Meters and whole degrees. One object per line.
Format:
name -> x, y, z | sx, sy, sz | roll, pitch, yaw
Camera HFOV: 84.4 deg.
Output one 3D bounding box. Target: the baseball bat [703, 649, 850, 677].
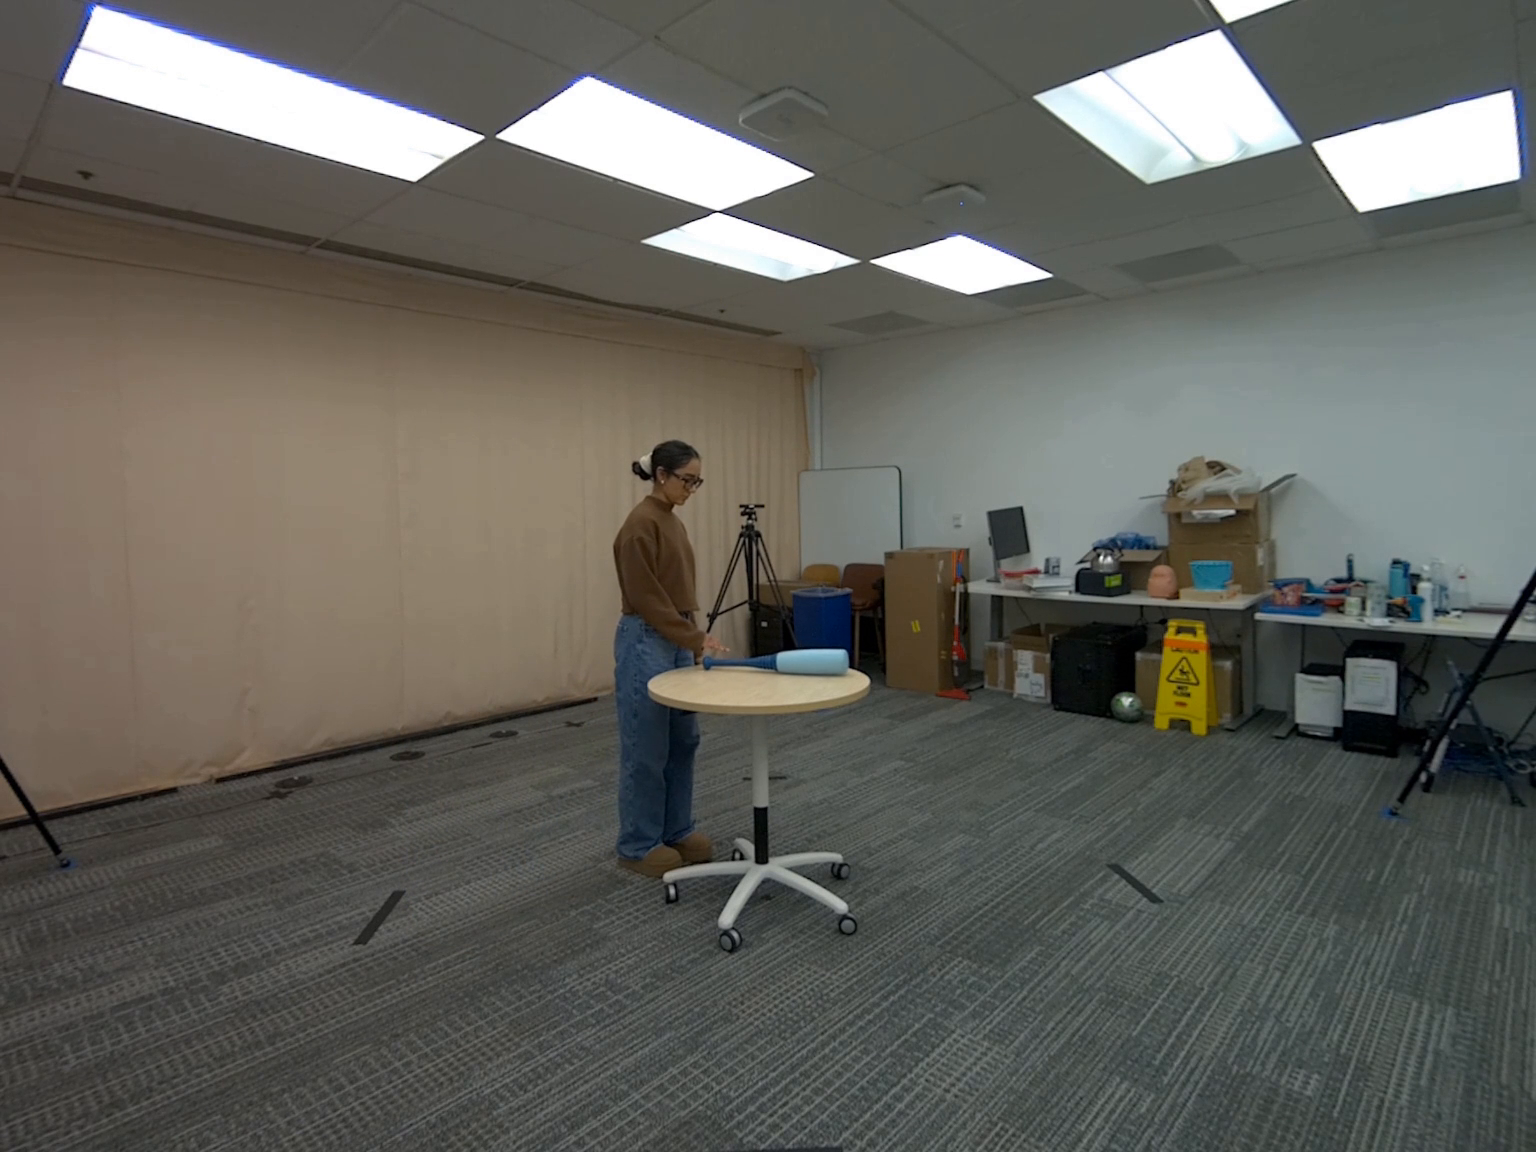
baseball bat -> 0.022, 0.319, 3.044 | 0.554, 0.089, 0.087 | -3, 3, 19
